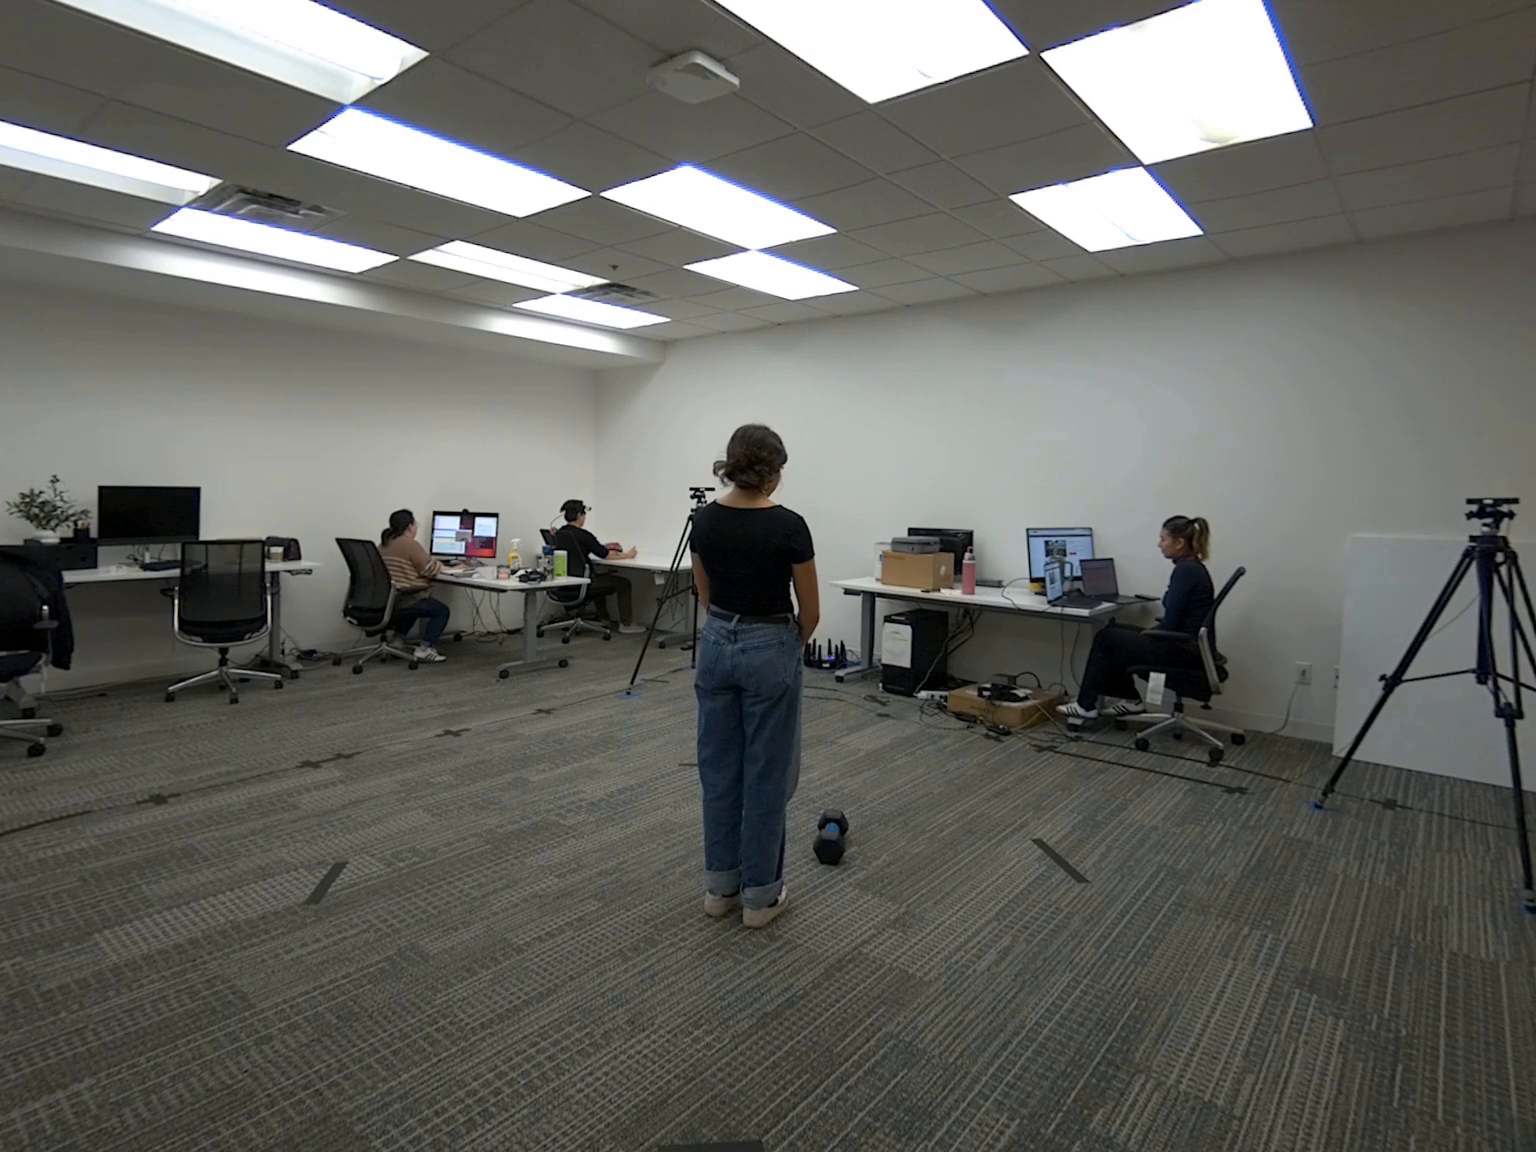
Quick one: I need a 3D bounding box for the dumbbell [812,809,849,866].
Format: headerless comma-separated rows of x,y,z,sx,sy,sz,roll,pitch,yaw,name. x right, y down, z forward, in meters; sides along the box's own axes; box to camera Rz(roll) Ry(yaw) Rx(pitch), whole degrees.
0.240,1.002,3.297,0.110,0.122,0.291,31,8,5,dumbbell
